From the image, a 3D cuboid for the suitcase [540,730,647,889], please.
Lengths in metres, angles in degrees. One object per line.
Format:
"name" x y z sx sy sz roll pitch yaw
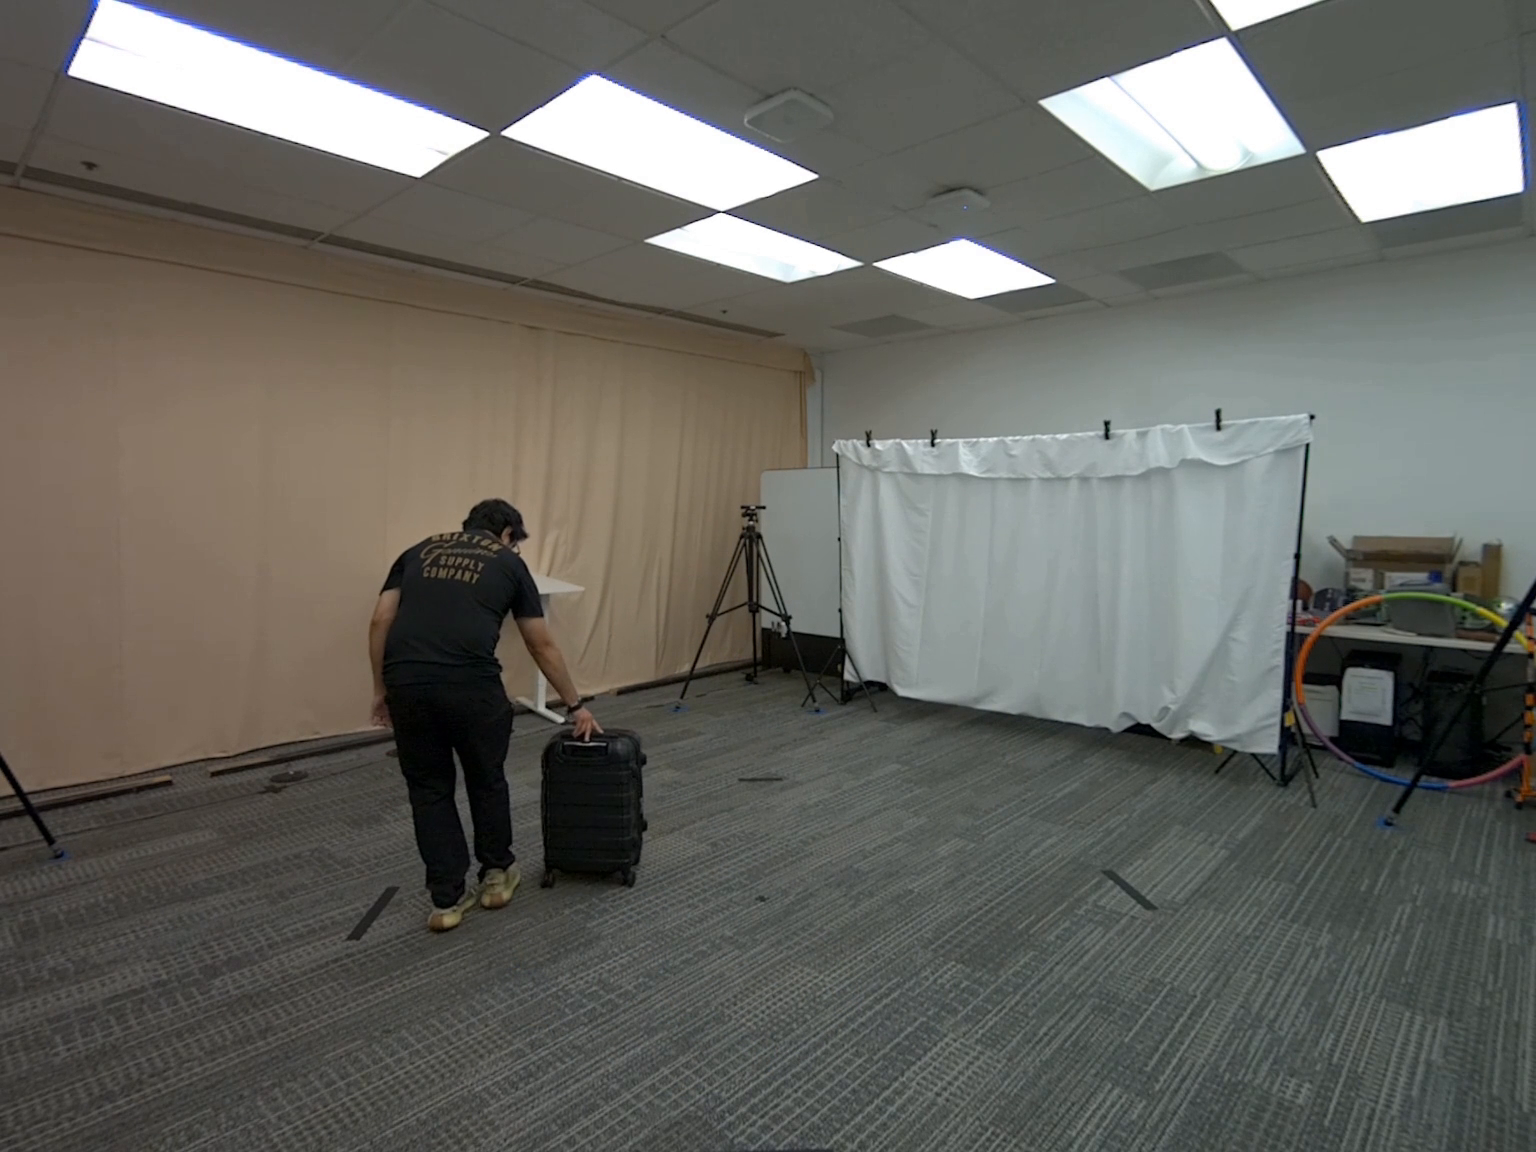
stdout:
"suitcase" -0.667 0.855 3.190 0.378 0.549 0.247 0 2 6
